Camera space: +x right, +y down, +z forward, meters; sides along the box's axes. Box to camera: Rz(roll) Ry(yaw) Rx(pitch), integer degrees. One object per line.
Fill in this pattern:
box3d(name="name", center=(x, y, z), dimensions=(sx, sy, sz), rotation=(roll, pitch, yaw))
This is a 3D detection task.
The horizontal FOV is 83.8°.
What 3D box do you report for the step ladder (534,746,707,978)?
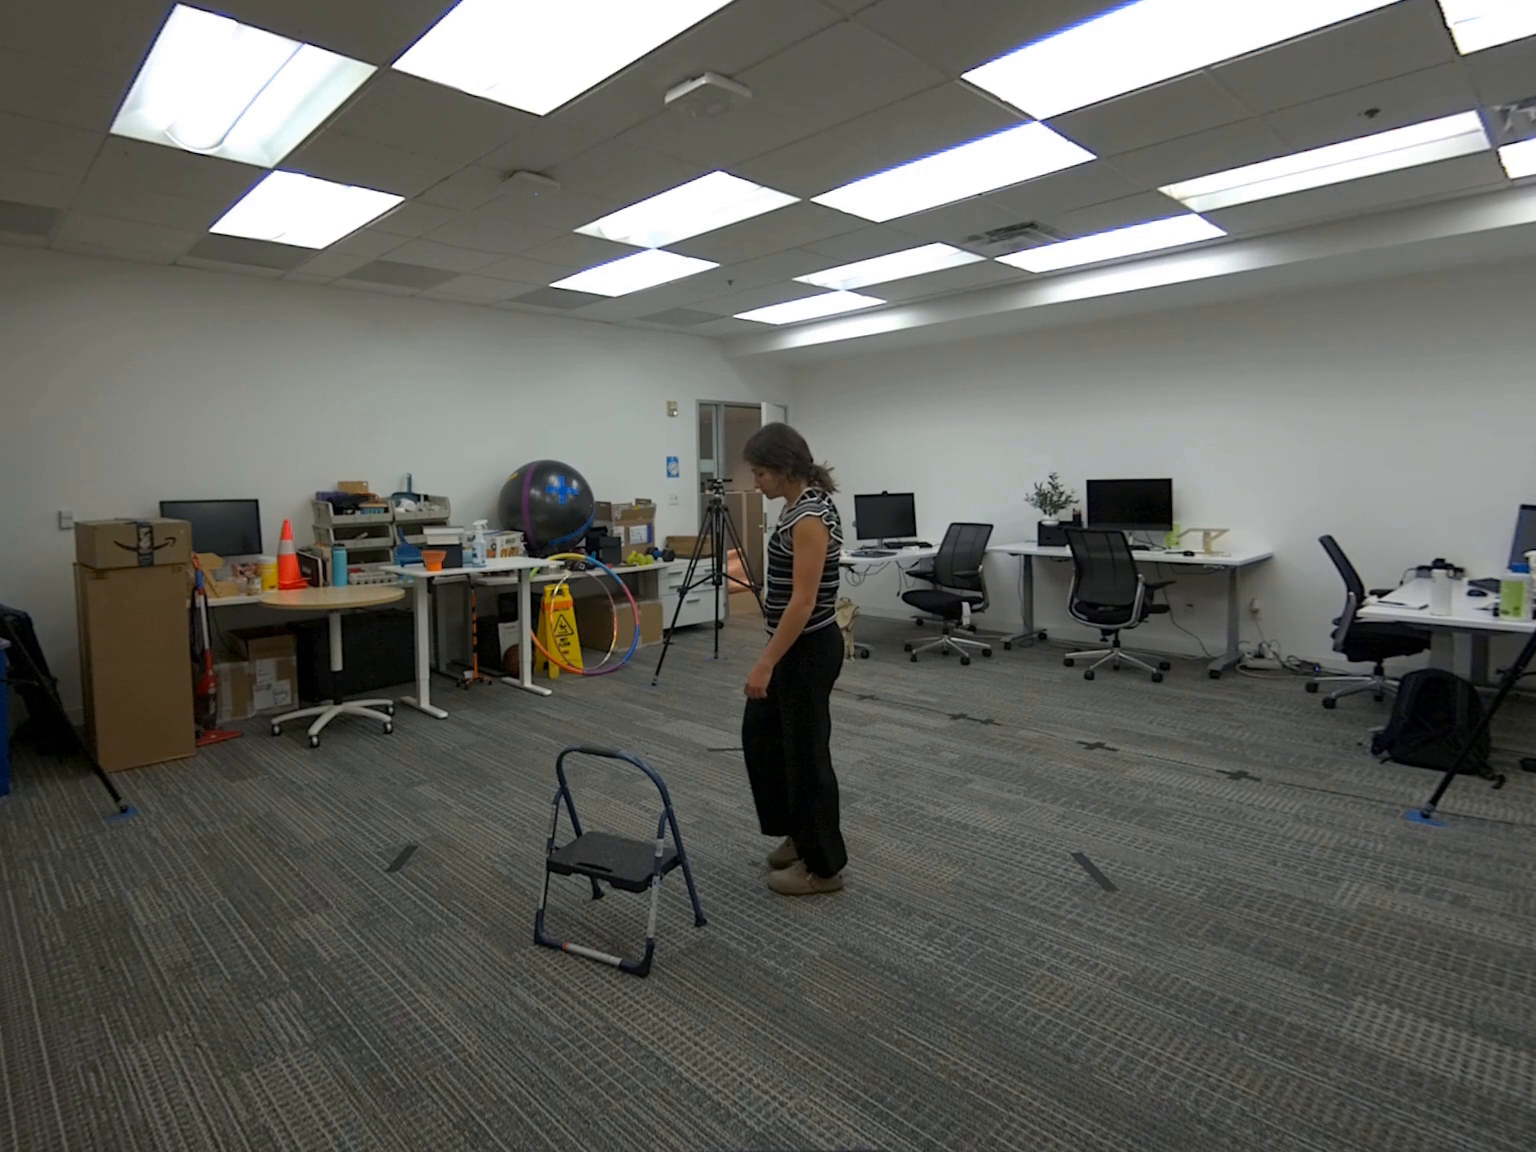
box3d(name="step ladder", center=(-0.461, 0.807, 2.630), dimensions=(0.441, 0.604, 0.342), rotation=(1, 5, 26))
